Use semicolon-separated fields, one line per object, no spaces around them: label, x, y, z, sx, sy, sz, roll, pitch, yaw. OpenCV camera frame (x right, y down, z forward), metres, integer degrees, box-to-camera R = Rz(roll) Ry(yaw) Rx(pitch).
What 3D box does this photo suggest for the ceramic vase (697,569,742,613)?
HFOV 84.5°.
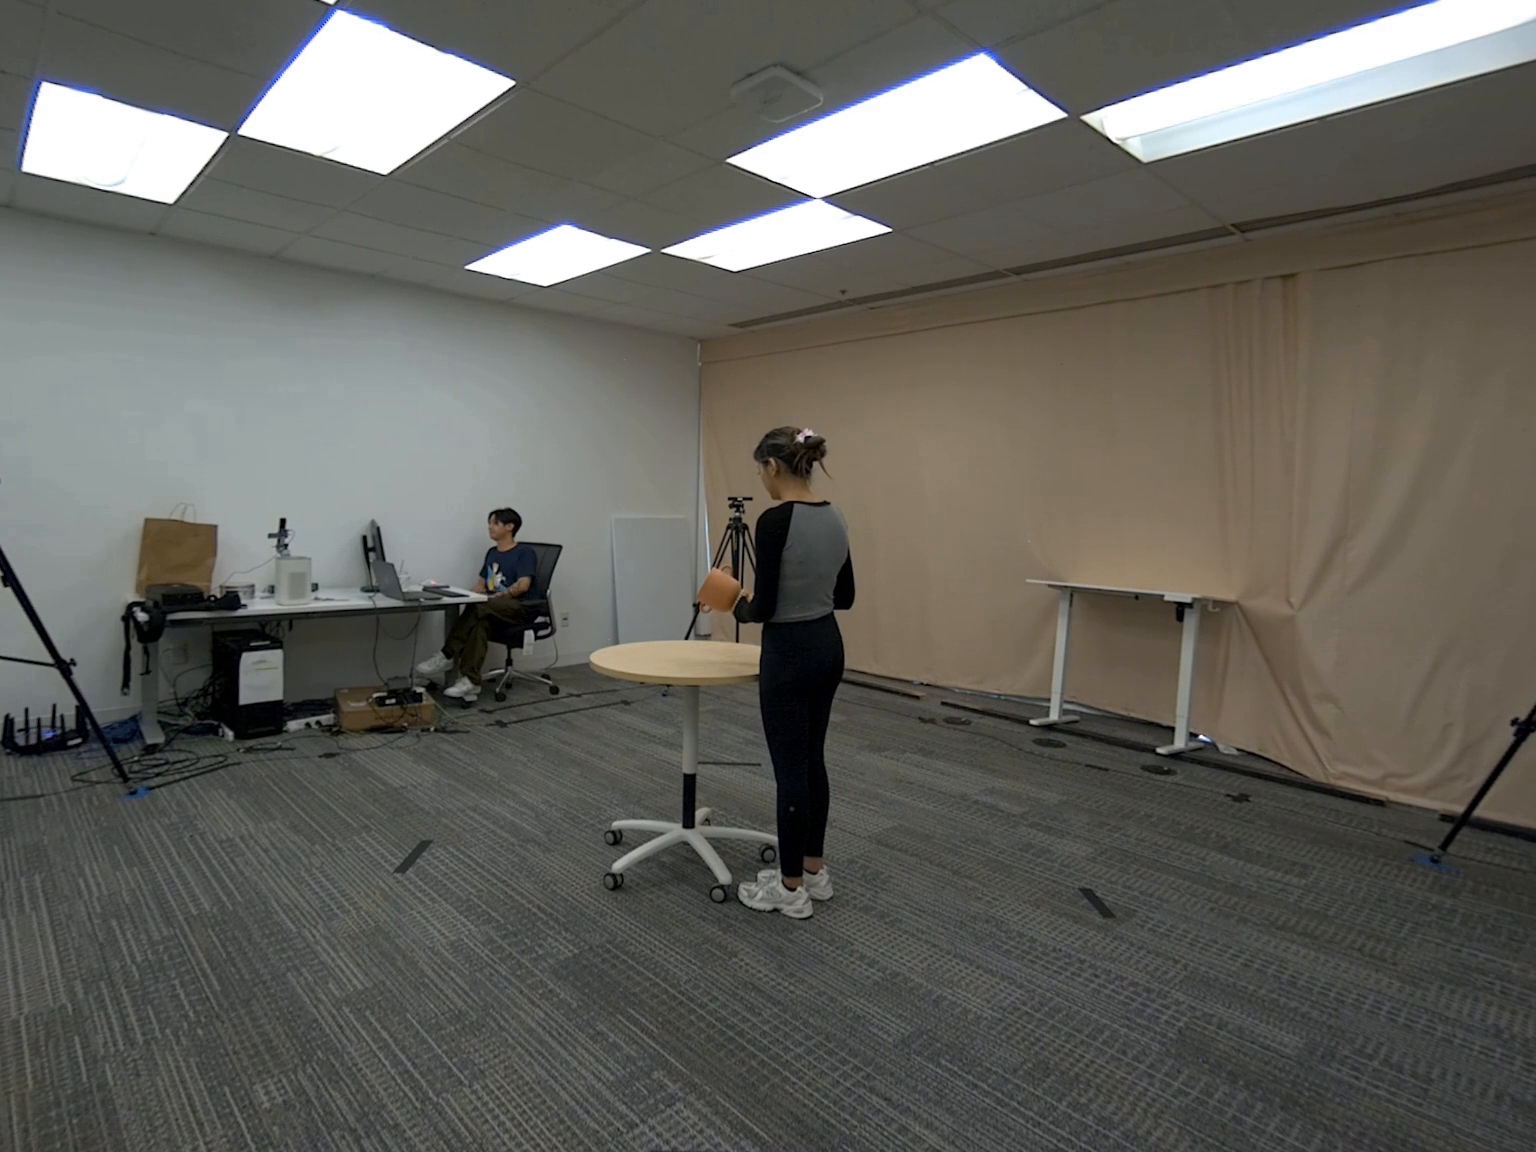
ceramic vase;-0.146;0.077;3.055;0.220;0.157;0.135;30;42;1
